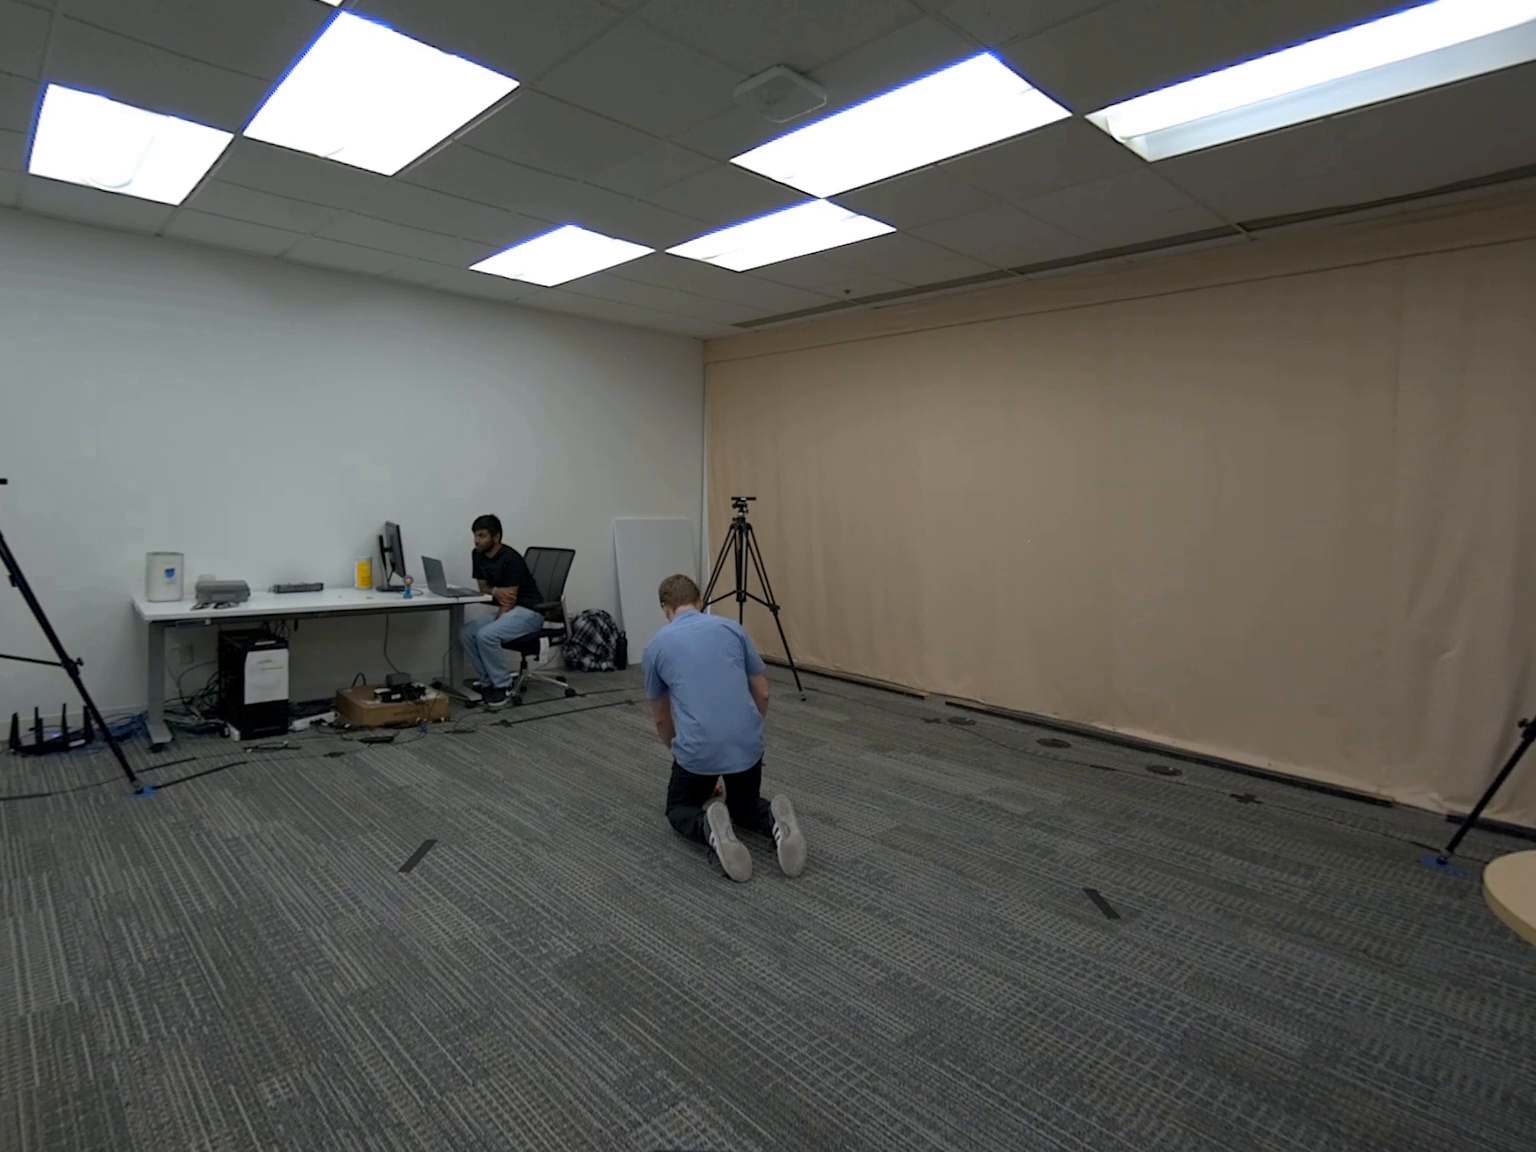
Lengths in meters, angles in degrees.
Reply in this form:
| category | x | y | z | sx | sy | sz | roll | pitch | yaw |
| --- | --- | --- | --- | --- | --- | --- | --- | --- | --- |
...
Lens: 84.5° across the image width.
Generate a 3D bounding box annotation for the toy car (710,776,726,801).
| category | x | y | z | sx | sy | sz | roll | pitch | yaw |
| --- | --- | --- | --- | --- | --- | --- | --- | --- | --- |
| toy car | -0.328 | 1.007 | 3.902 | 0.133 | 0.083 | 0.248 | 3 | -7 | 30 |
